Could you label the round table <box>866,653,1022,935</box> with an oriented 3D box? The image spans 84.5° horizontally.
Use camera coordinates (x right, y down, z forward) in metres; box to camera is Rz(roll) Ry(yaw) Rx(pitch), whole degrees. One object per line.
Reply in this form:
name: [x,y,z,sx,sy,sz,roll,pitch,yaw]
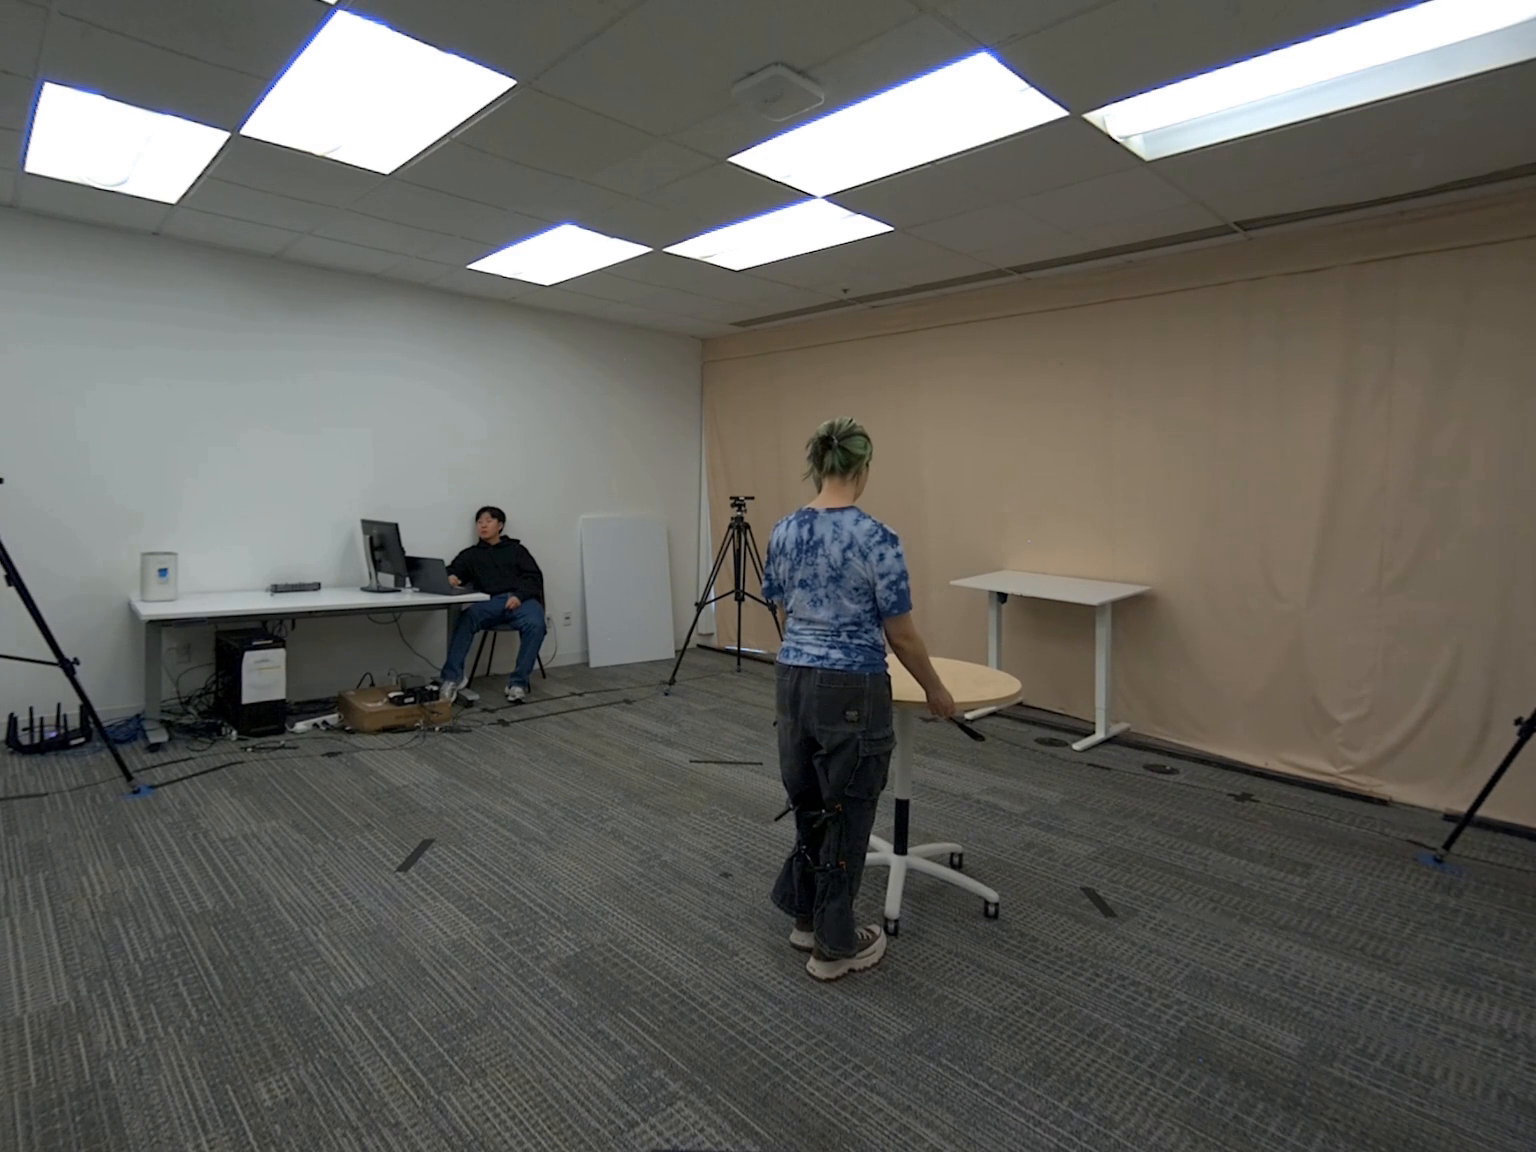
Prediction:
round table: [0.470,0.738,2.996,0.763,0.791,0.767,2,5,-2]
